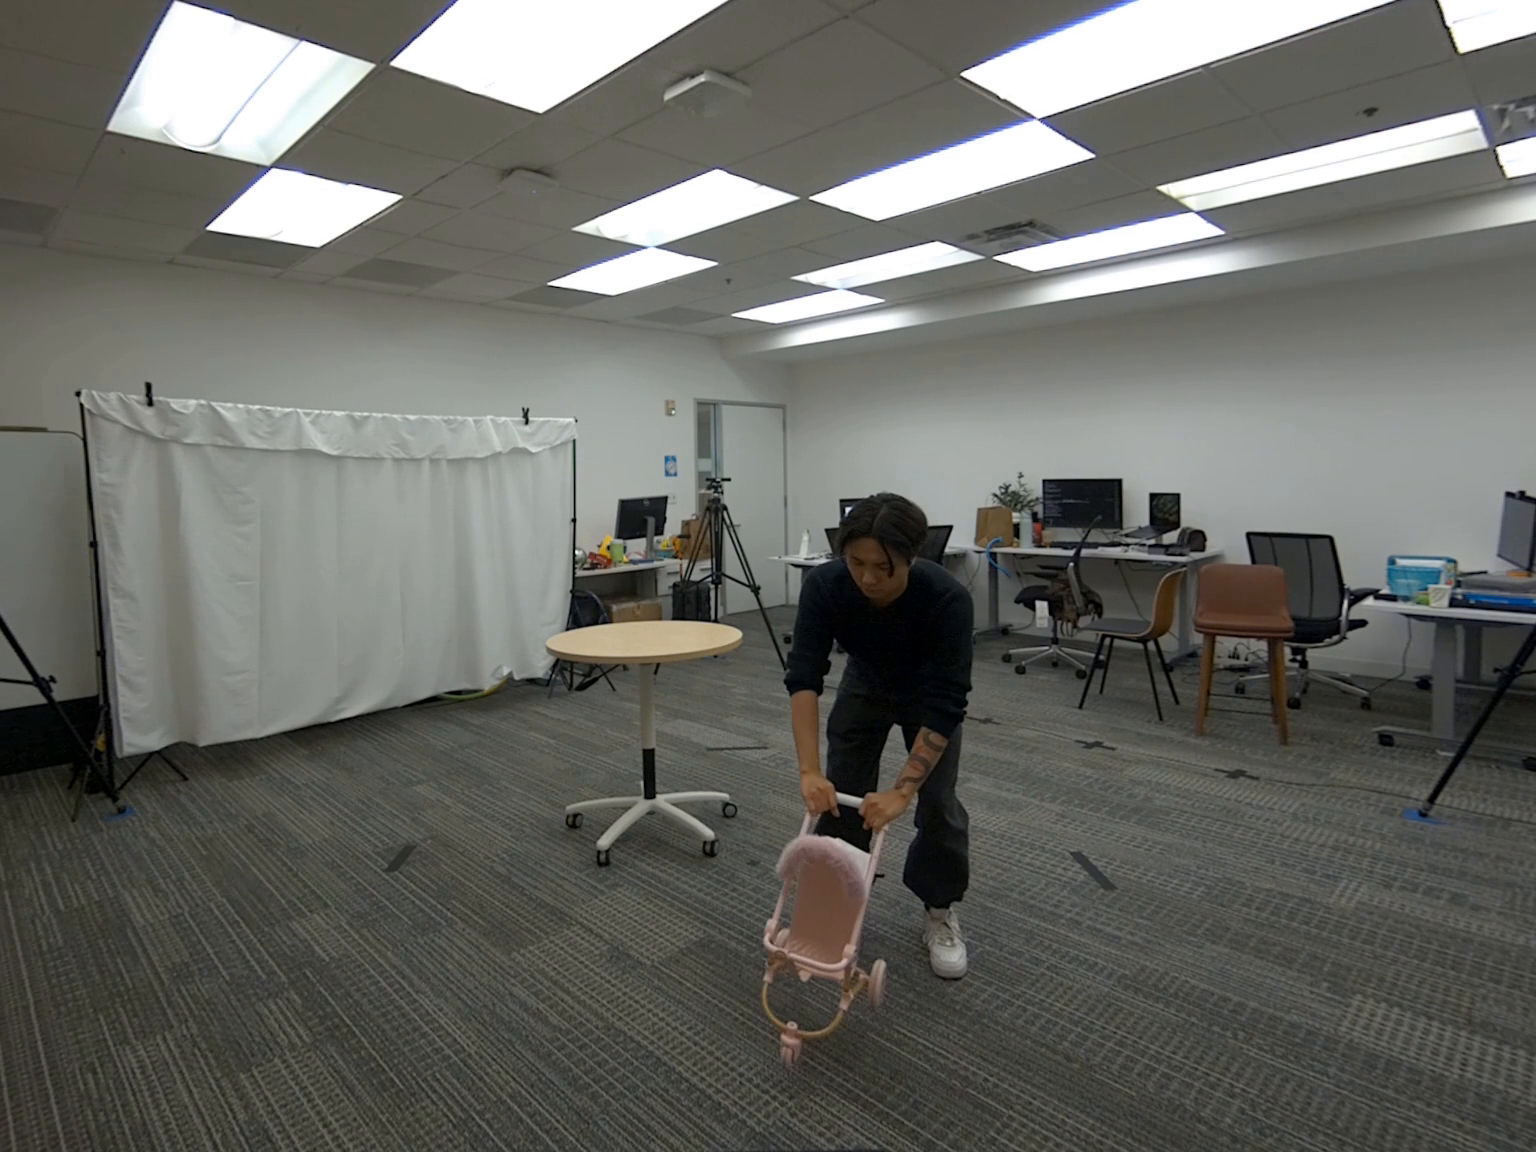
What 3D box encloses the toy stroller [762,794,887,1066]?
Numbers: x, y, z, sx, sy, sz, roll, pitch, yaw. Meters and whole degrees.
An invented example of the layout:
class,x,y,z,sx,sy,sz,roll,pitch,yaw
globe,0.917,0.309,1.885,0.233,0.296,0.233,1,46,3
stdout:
class,x,y,z,sx,sy,sz,roll,pitch,yaw
toy stroller,0.132,0.832,2.015,0.289,0.533,0.333,8,5,28
